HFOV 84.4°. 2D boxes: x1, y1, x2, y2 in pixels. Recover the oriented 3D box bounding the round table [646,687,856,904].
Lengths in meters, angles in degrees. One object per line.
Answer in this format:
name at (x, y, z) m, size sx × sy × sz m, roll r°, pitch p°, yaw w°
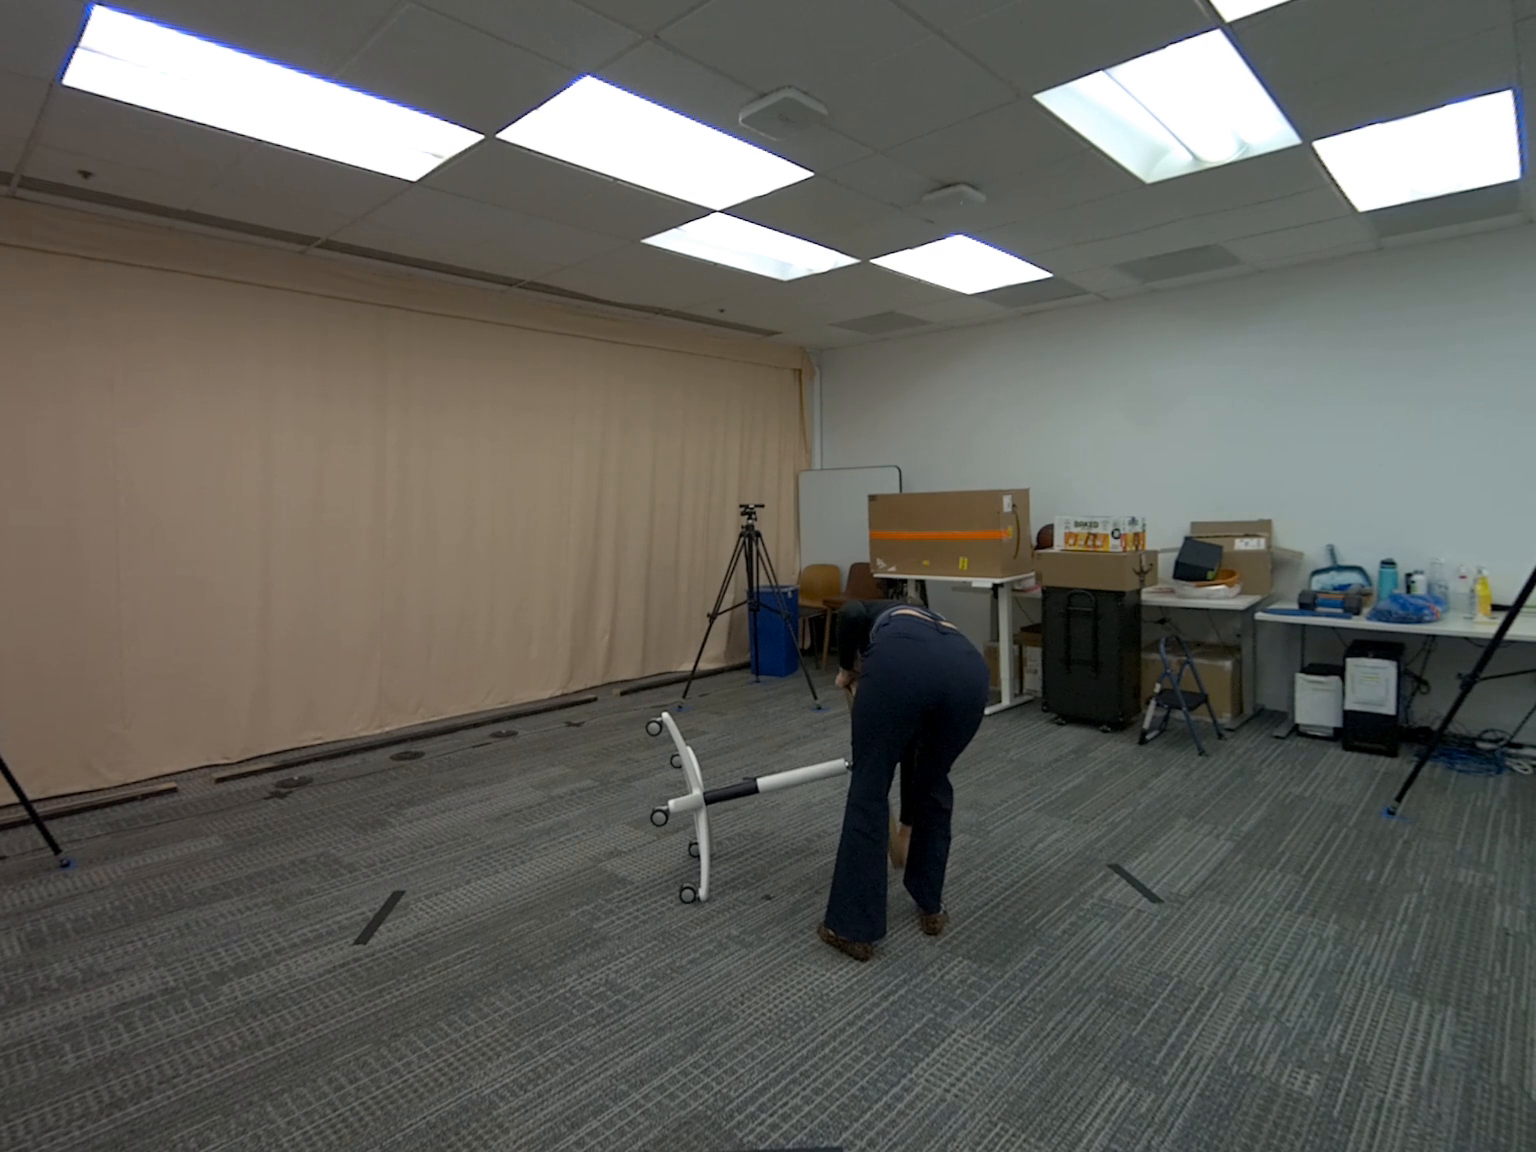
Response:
round table at (0.011, 0.771, 3.127) m, size 0.795 × 0.762 × 0.765 m, roll -15°, pitch 4°, yaw 1°
